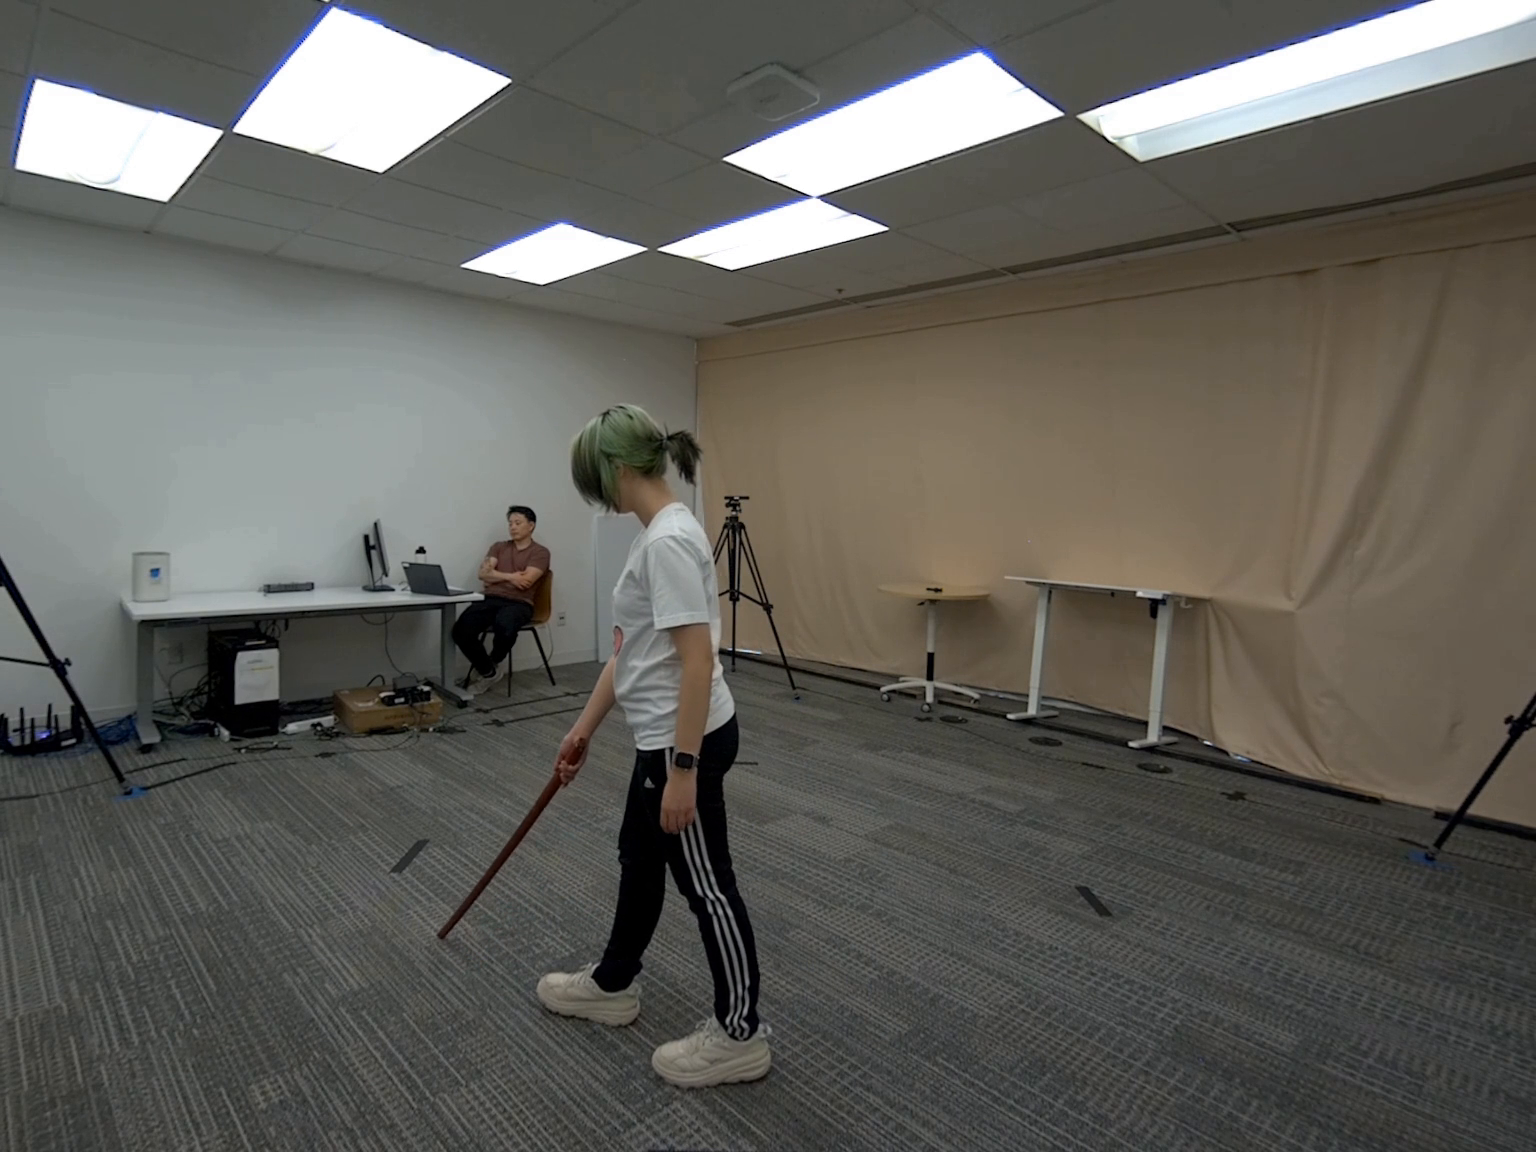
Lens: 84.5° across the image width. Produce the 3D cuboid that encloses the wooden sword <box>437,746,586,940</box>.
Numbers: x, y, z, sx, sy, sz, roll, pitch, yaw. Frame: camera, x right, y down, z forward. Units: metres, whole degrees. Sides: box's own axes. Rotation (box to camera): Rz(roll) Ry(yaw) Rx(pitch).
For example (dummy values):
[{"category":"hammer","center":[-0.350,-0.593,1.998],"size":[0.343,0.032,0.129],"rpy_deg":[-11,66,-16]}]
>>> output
[{"category":"wooden sword","center":[-0.751,0.794,2.354],"size":[0.023,0.053,1.022],"rpy_deg":[8,-46,-40]}]
